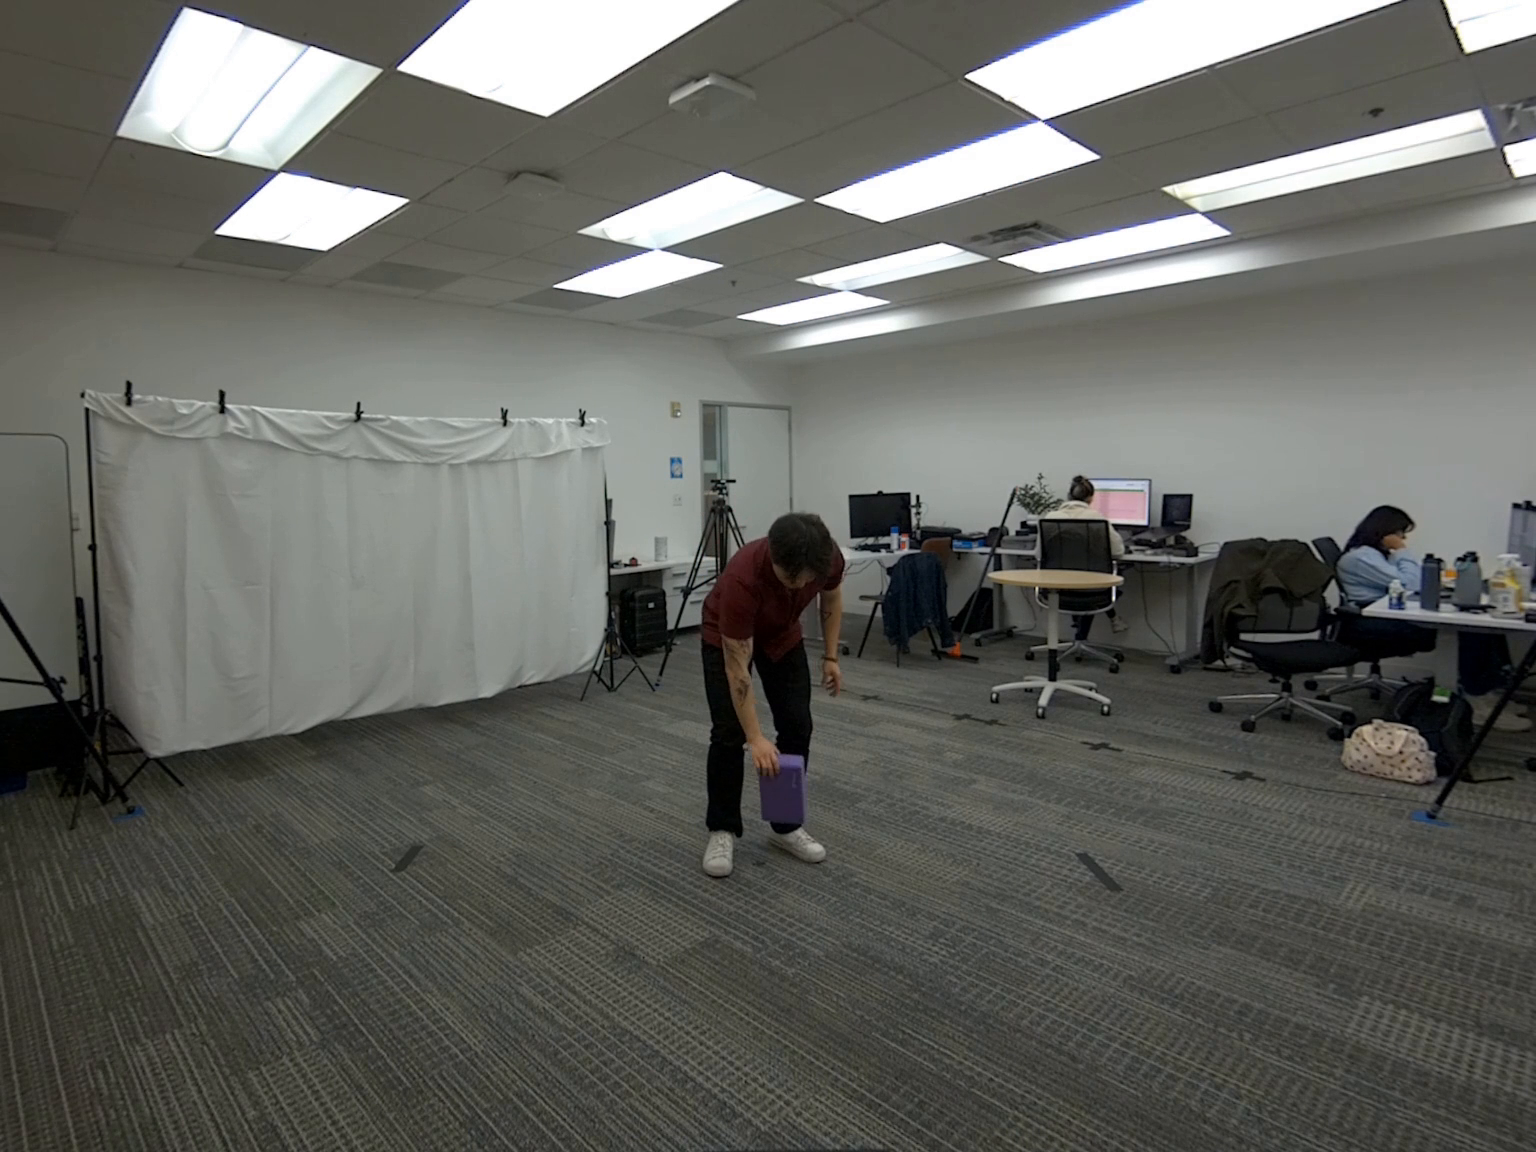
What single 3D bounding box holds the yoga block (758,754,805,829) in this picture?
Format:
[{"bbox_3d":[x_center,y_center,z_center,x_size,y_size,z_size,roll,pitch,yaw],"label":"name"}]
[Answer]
[{"bbox_3d":[0.051,0.727,2.919,0.151,0.226,0.076,-2,13,13],"label":"yoga block"}]
